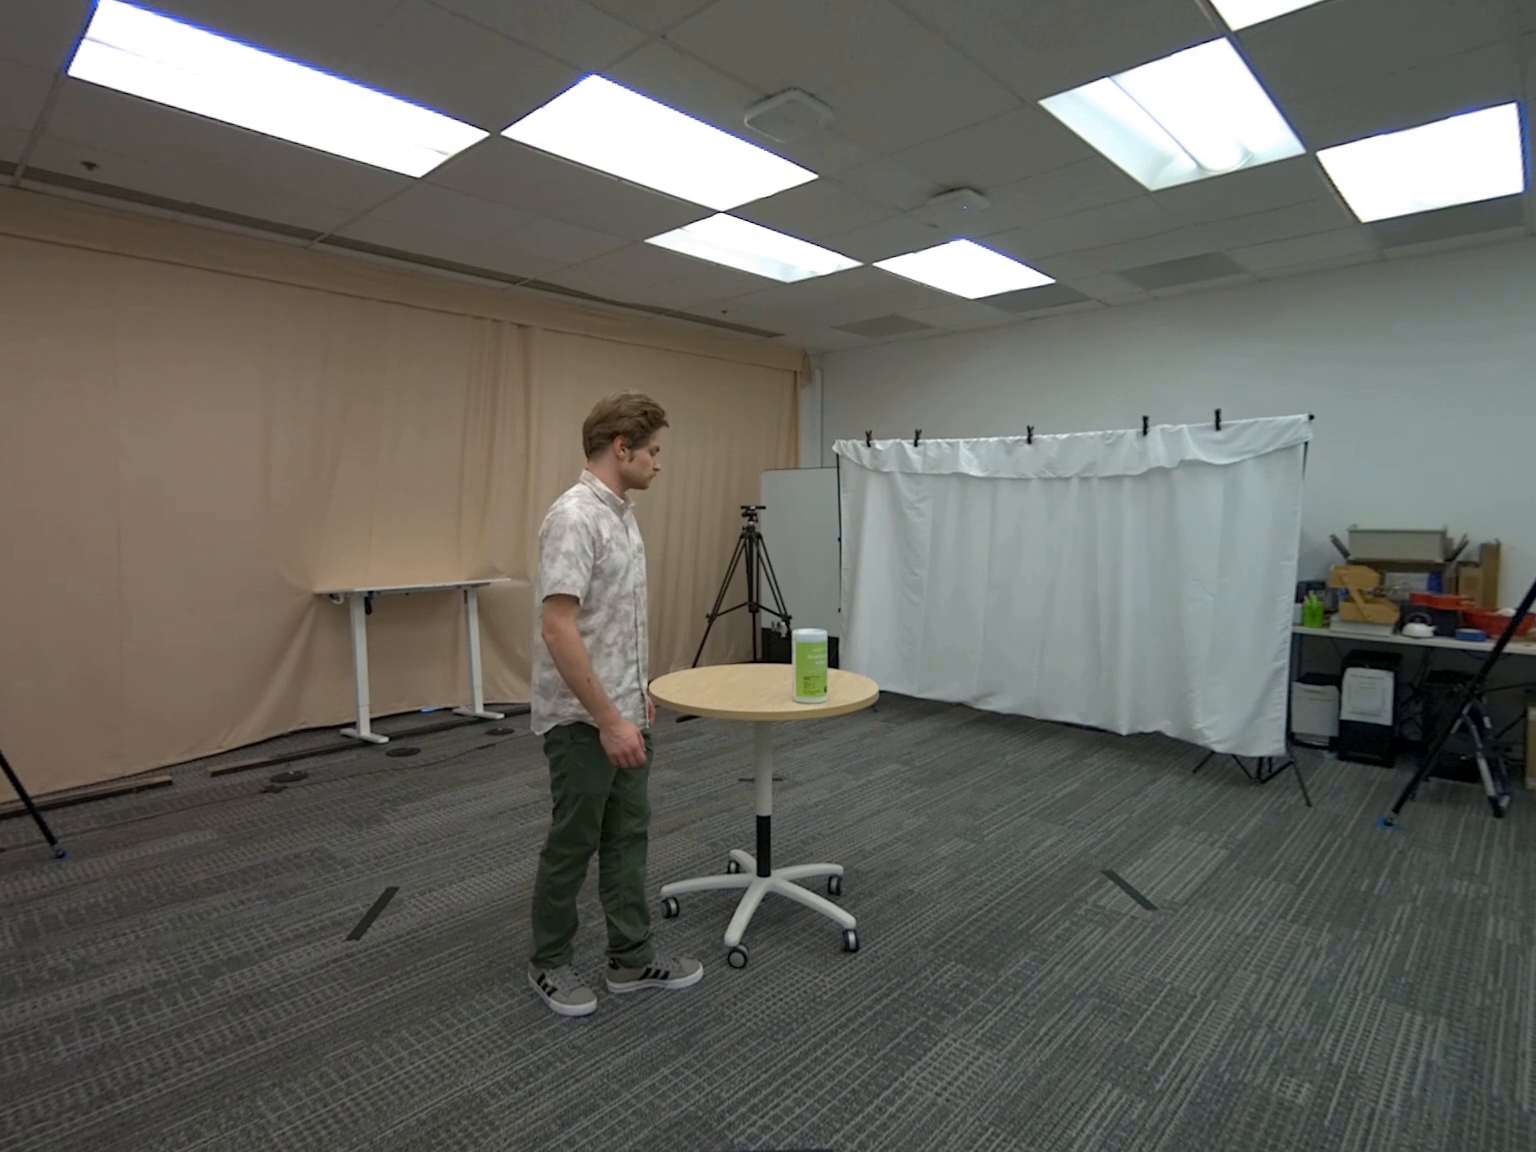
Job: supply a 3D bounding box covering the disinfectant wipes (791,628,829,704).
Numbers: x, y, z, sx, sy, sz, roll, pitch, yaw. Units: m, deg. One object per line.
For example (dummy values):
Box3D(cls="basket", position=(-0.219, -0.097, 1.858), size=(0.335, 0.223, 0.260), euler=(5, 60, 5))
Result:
Box3D(cls="disinfectant wipes", position=(0.130, 0.274, 2.587), size=(0.118, 0.217, 0.118), euler=(1, 2, -2))
